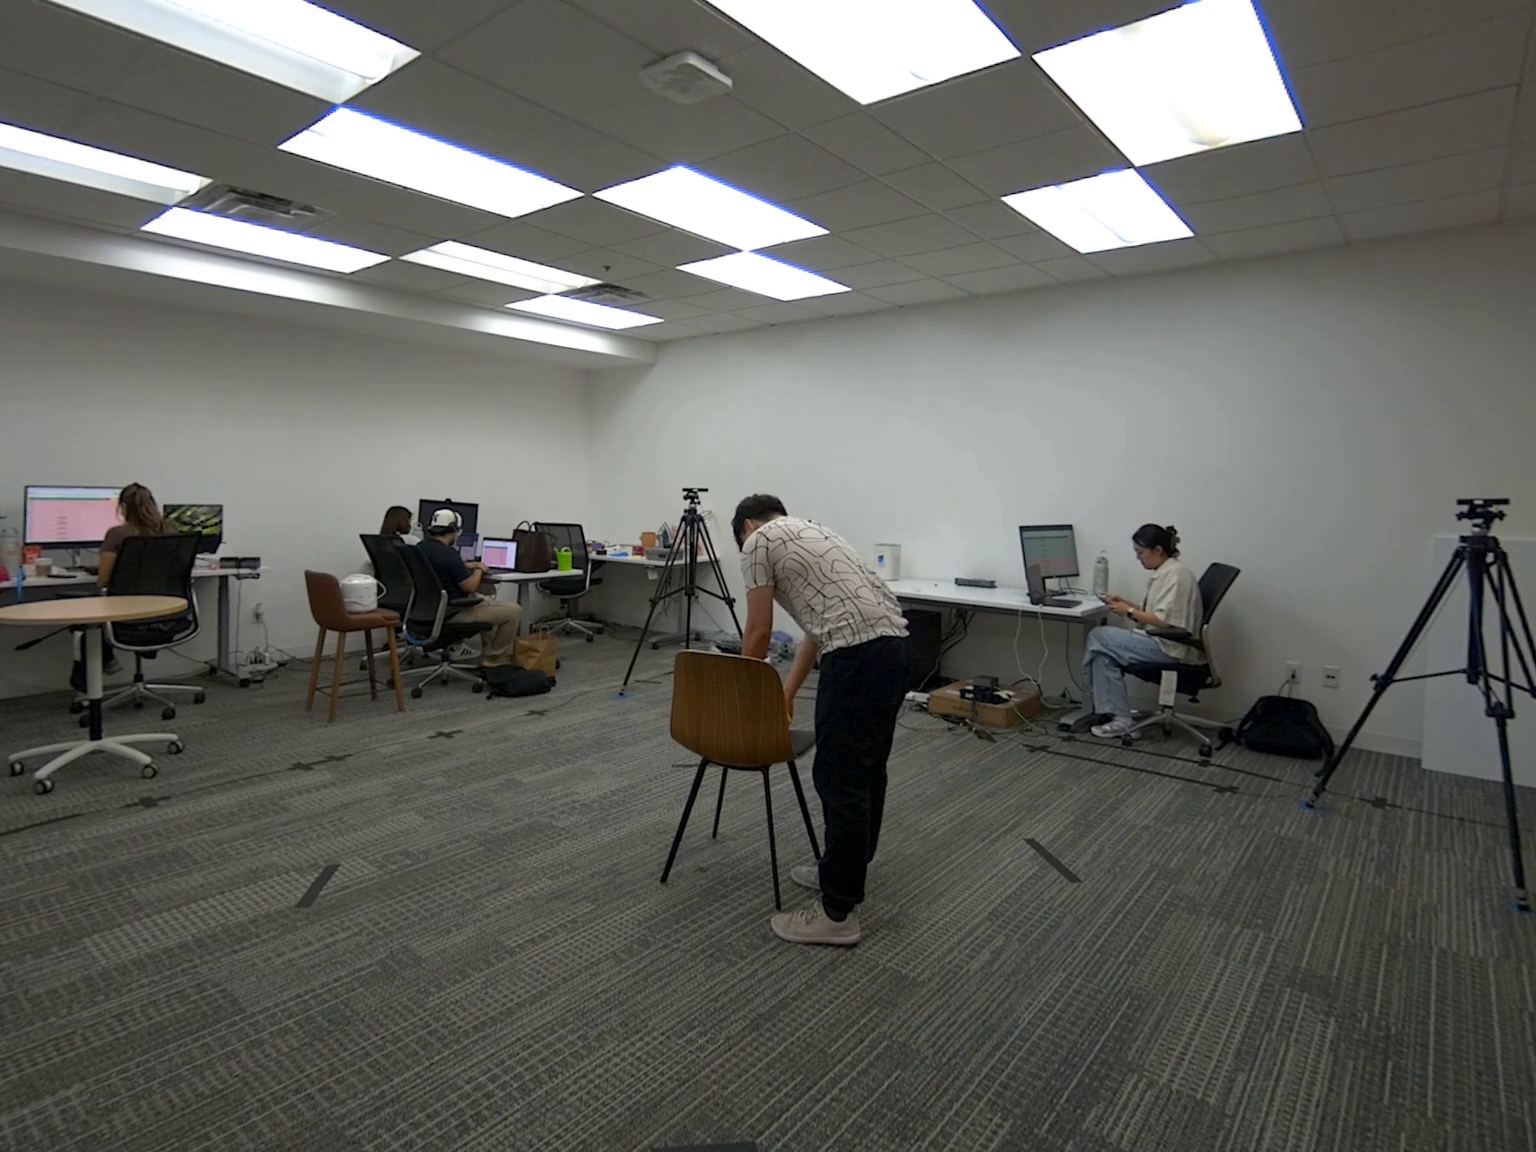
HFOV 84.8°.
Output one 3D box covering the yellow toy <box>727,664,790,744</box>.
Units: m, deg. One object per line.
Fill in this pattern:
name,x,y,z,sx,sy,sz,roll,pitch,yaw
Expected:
yellow toy,-0.040,0.470,3.138,0.203,0.229,0.196,-1,9,-7
